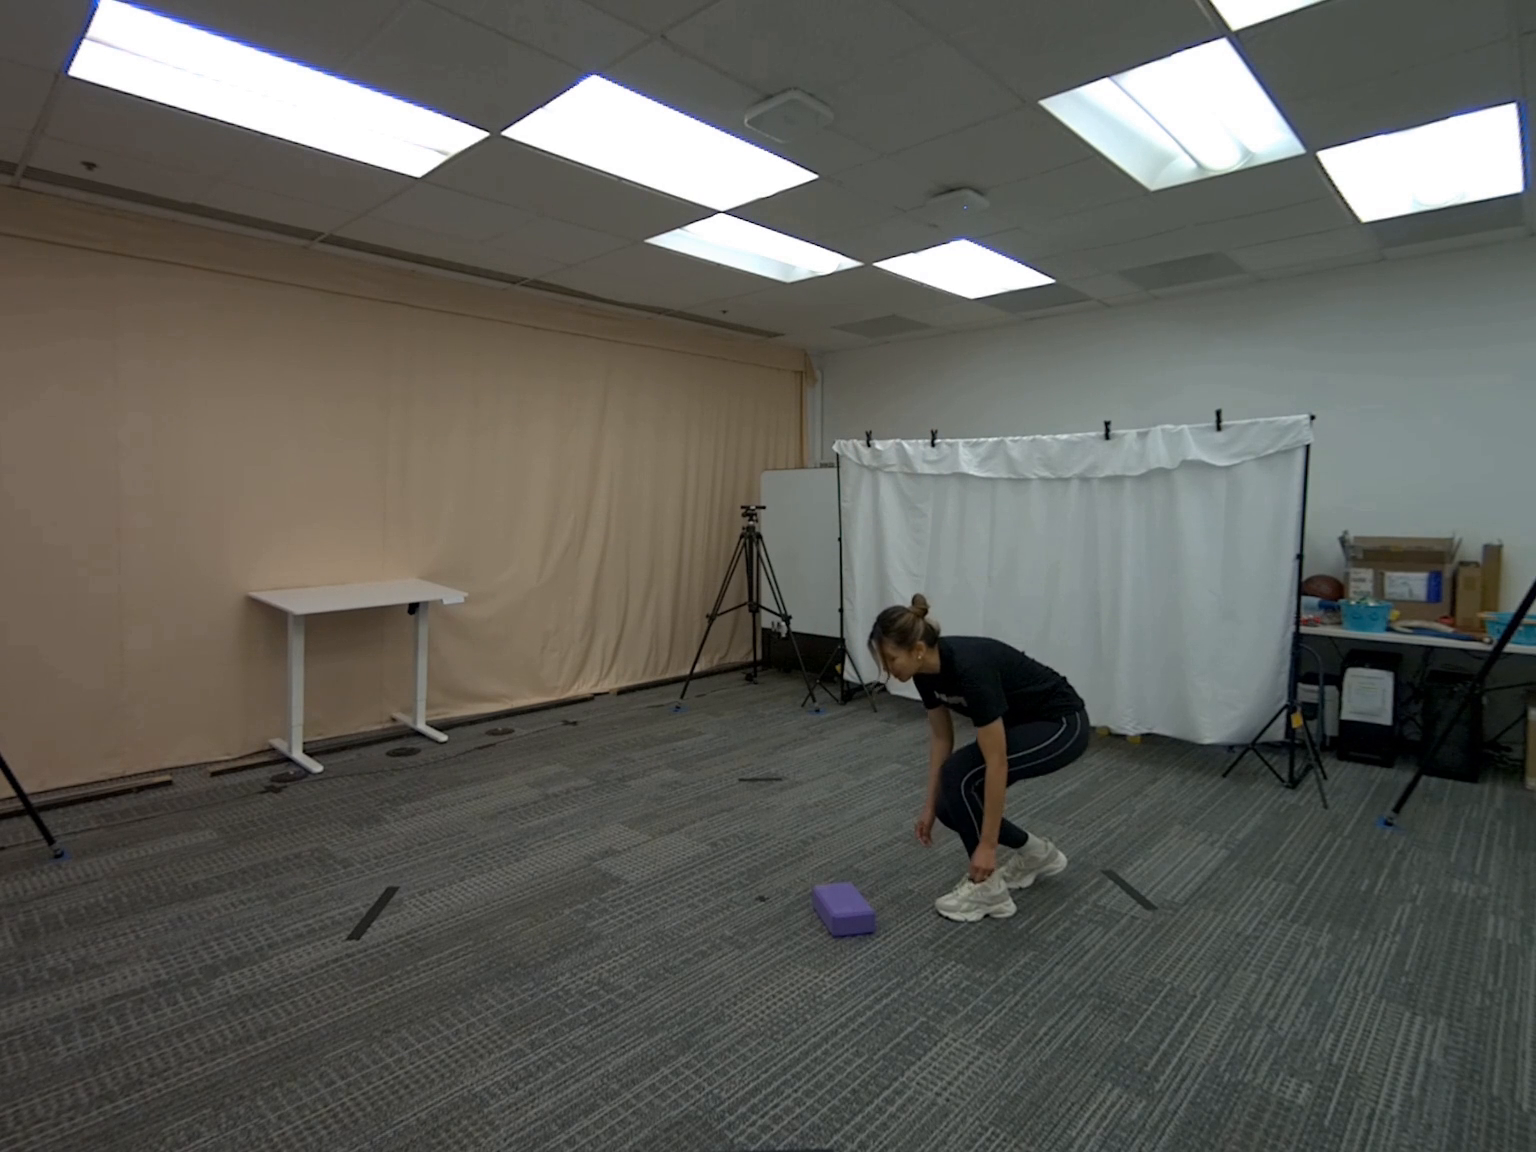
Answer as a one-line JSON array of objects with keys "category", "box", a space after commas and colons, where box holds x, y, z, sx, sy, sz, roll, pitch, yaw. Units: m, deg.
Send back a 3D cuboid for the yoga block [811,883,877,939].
[{"category": "yoga block", "box": [0.256, 1.118, 2.827, 0.147, 0.076, 0.233, -2, 5, -13]}]
